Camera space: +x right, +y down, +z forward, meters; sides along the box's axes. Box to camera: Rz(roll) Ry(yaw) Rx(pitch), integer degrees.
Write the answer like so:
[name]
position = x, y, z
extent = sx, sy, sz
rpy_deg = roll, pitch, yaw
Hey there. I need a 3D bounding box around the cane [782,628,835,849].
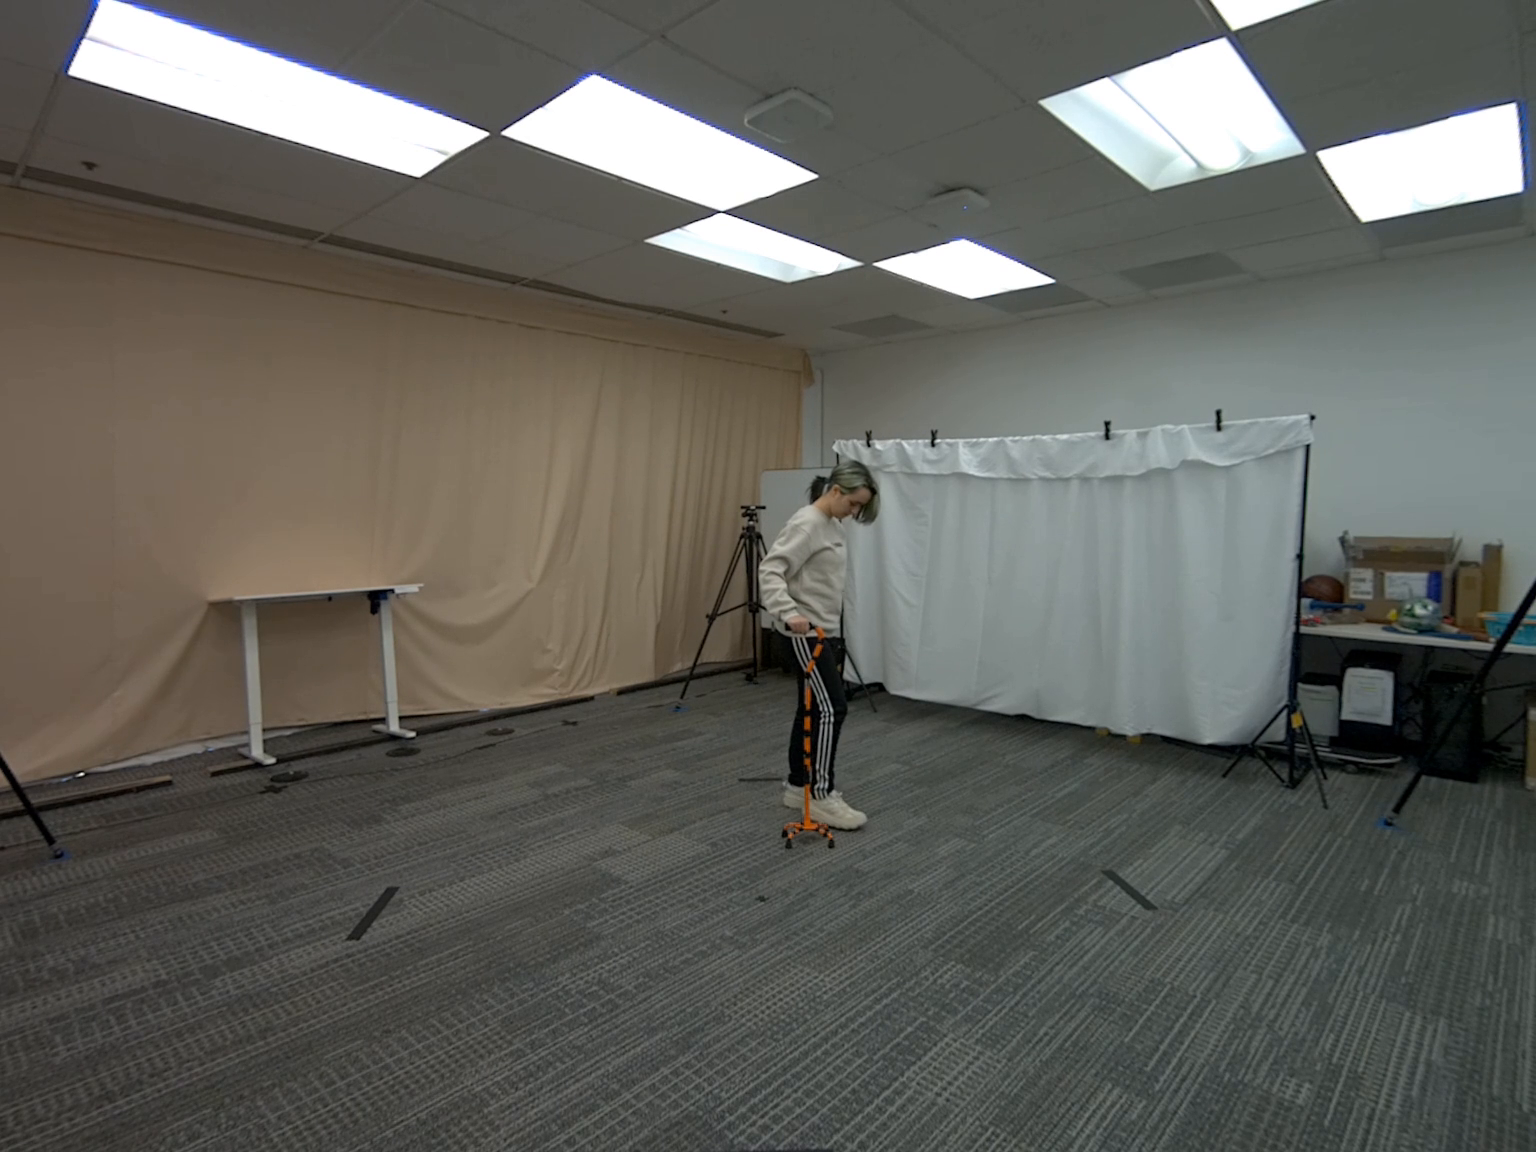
[cane]
position = 0.165, 0.649, 3.463
extent = 0.205, 0.906, 0.153
rpy_deg = 0, 3, -6
